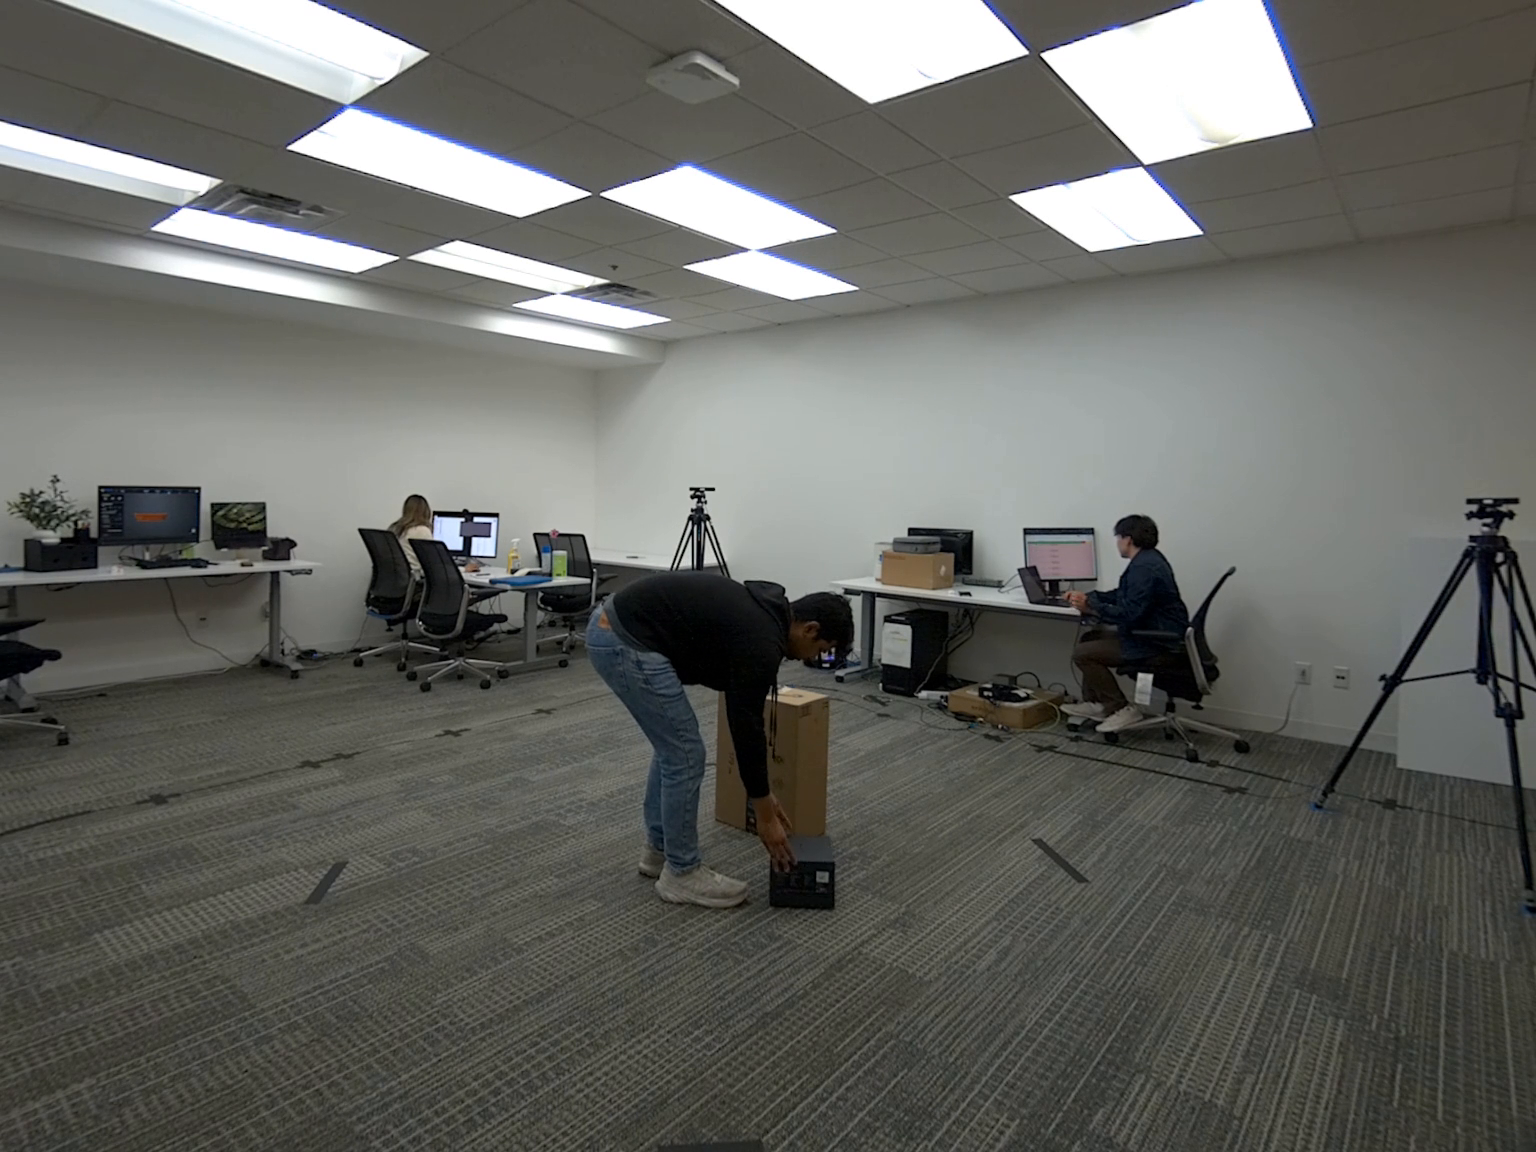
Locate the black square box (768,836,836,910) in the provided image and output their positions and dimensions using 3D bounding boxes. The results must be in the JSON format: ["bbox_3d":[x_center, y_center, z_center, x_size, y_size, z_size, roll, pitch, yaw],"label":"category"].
[{"bbox_3d":[0.115,0.998,2.930,0.217,0.155,0.228,3,5,0],"label":"black square box"}]
